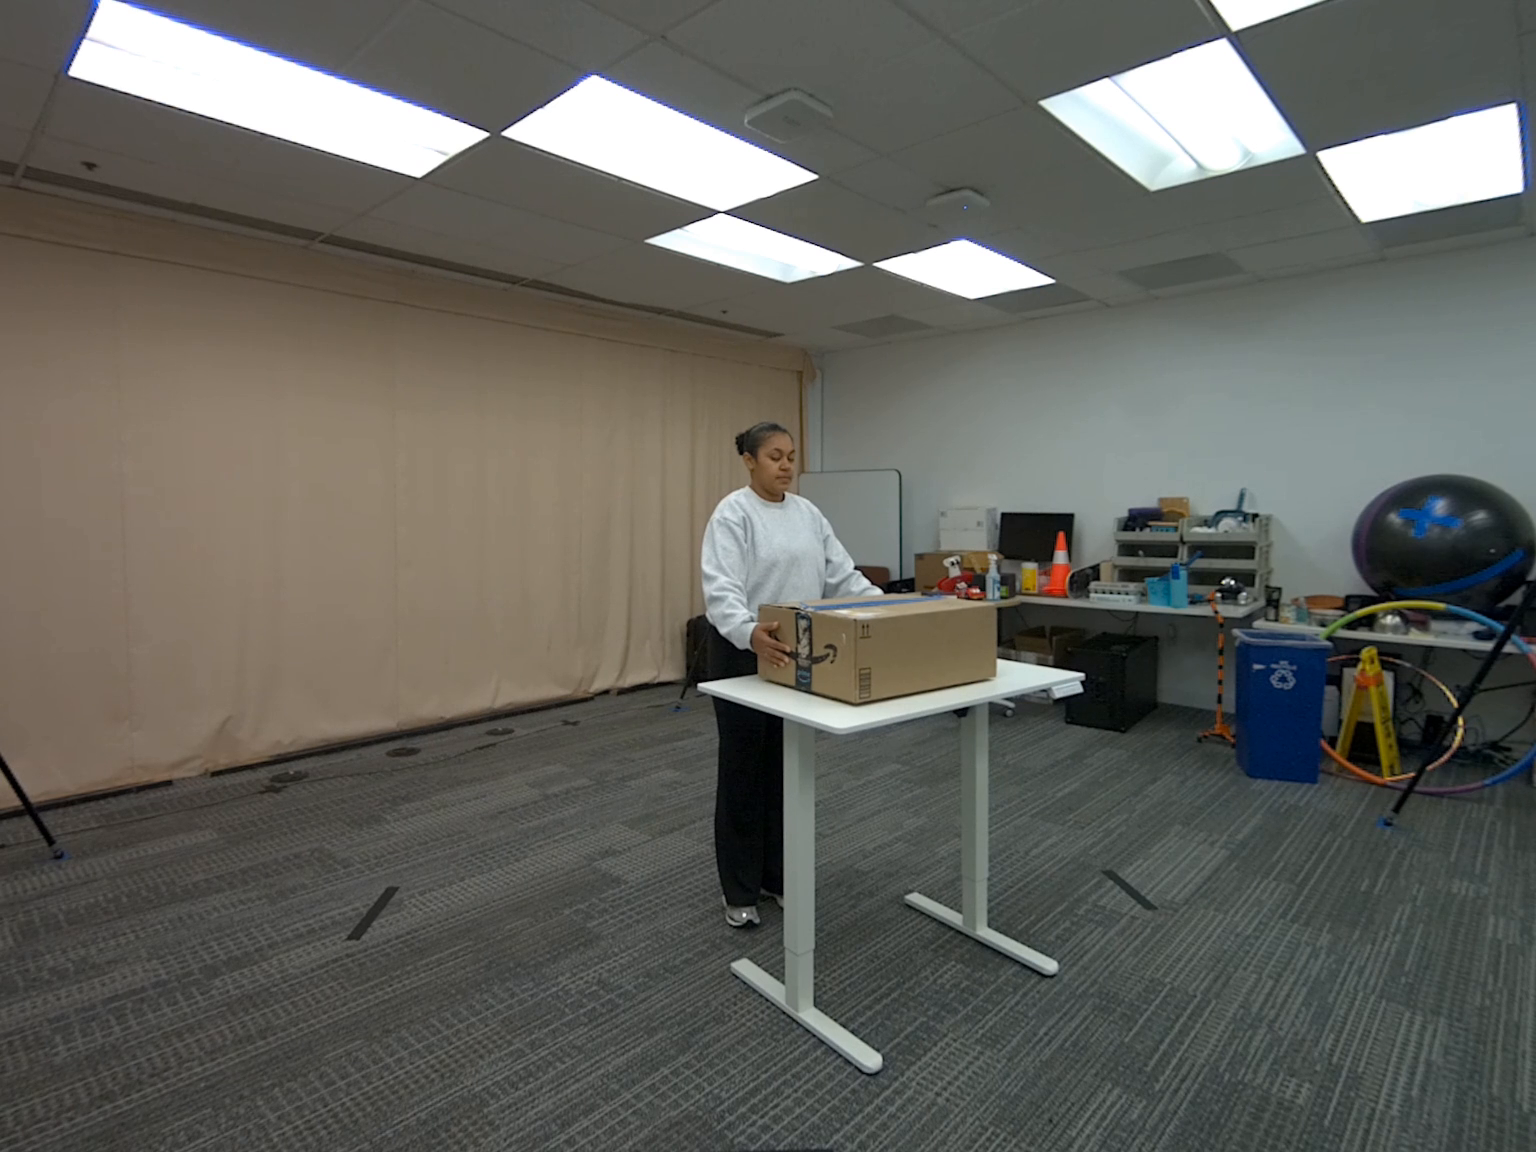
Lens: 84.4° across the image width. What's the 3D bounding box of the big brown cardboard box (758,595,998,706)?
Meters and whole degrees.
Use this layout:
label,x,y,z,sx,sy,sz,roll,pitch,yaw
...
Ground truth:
label,x,y,z,sx,sy,sz,roll,pitch,yaw
big brown cardboard box,0.319,0.189,2.449,0.571,0.233,0.431,-2,4,-36
